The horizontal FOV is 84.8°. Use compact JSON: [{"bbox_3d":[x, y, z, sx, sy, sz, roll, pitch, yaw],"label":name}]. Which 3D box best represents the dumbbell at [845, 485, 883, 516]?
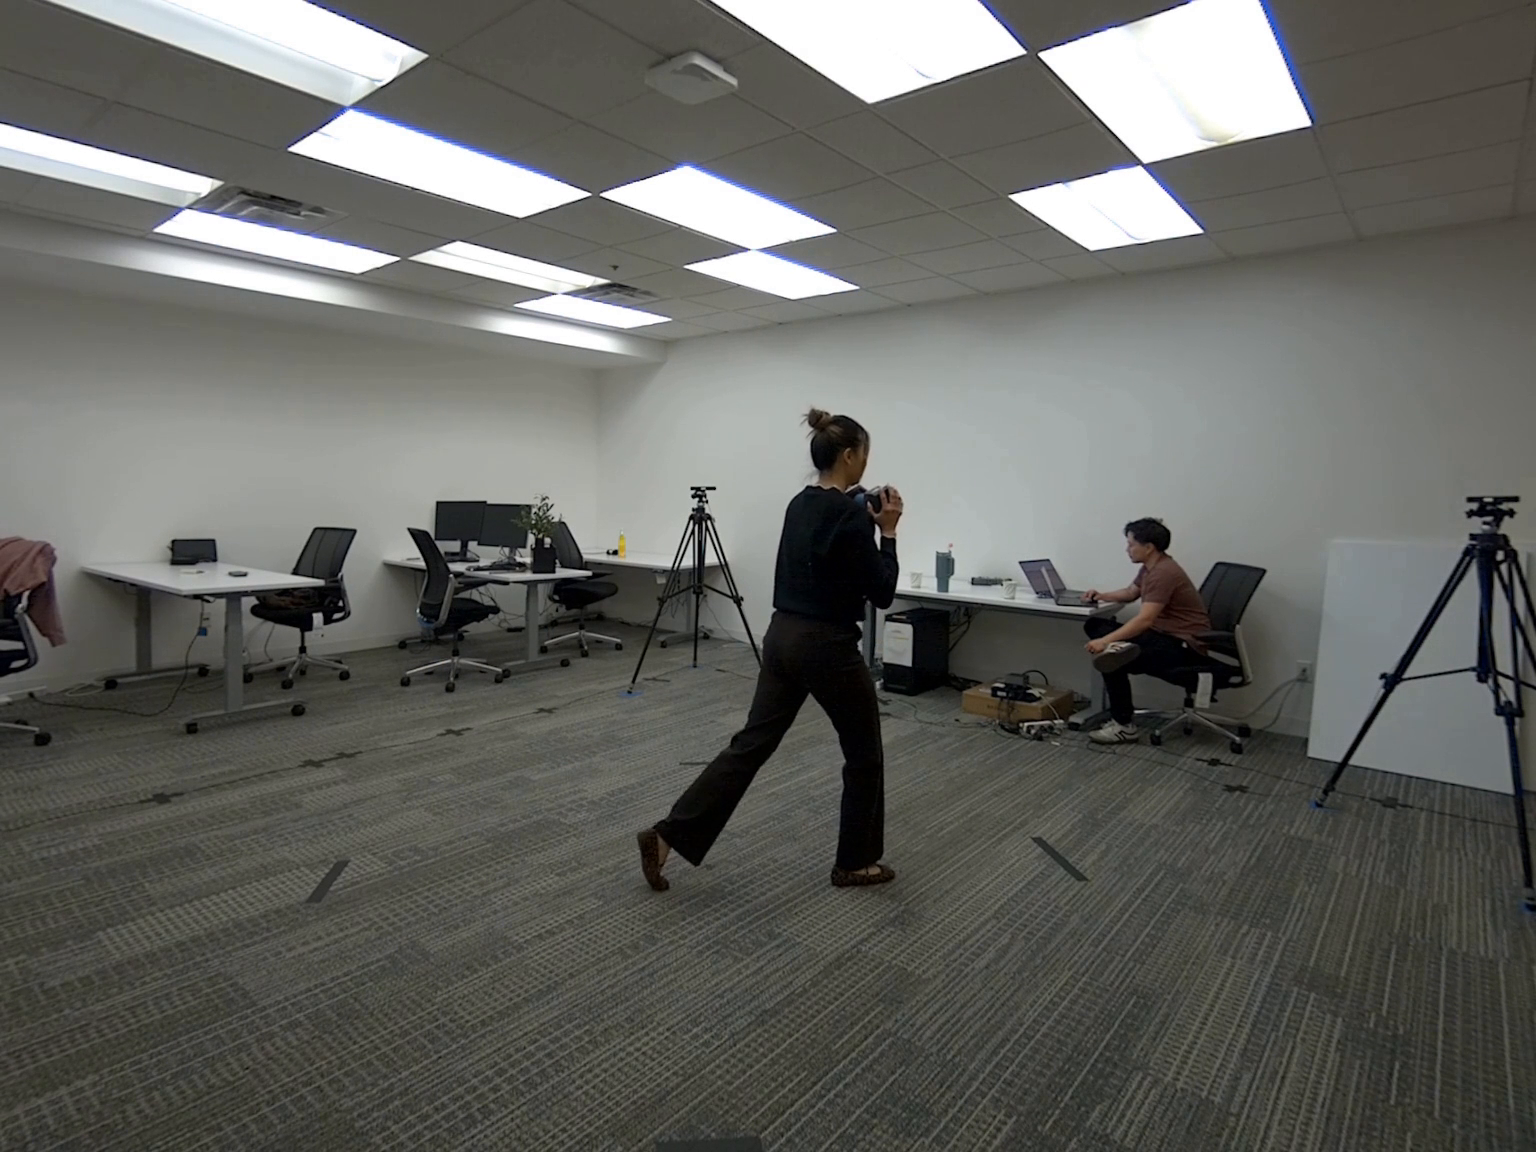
[{"bbox_3d":[0.339,-0.254,3.012,0.122,0.107,0.300,-31,15,-13],"label":"dumbbell"}]
